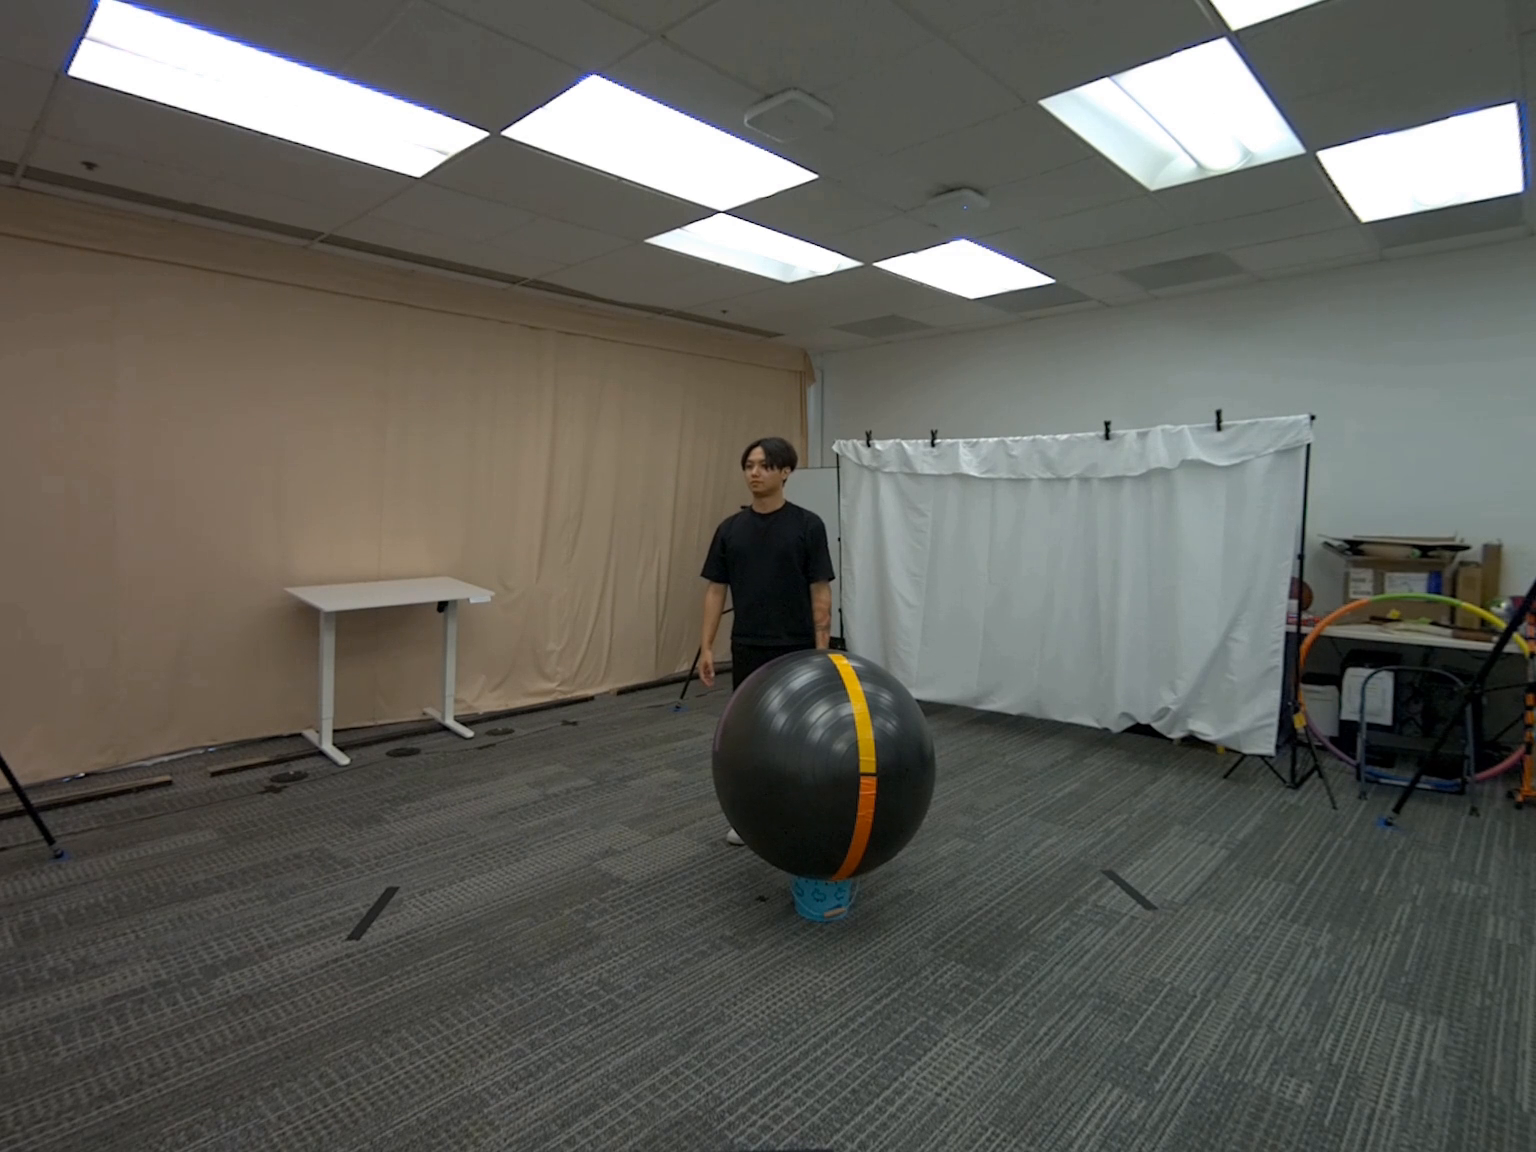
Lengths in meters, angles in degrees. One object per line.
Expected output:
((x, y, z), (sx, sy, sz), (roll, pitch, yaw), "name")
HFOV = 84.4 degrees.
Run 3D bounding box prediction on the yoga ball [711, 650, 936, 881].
((0.193, 0.639, 2.883), (0.757, 0.756, 0.760), (0, 4, -2), "yoga ball")
